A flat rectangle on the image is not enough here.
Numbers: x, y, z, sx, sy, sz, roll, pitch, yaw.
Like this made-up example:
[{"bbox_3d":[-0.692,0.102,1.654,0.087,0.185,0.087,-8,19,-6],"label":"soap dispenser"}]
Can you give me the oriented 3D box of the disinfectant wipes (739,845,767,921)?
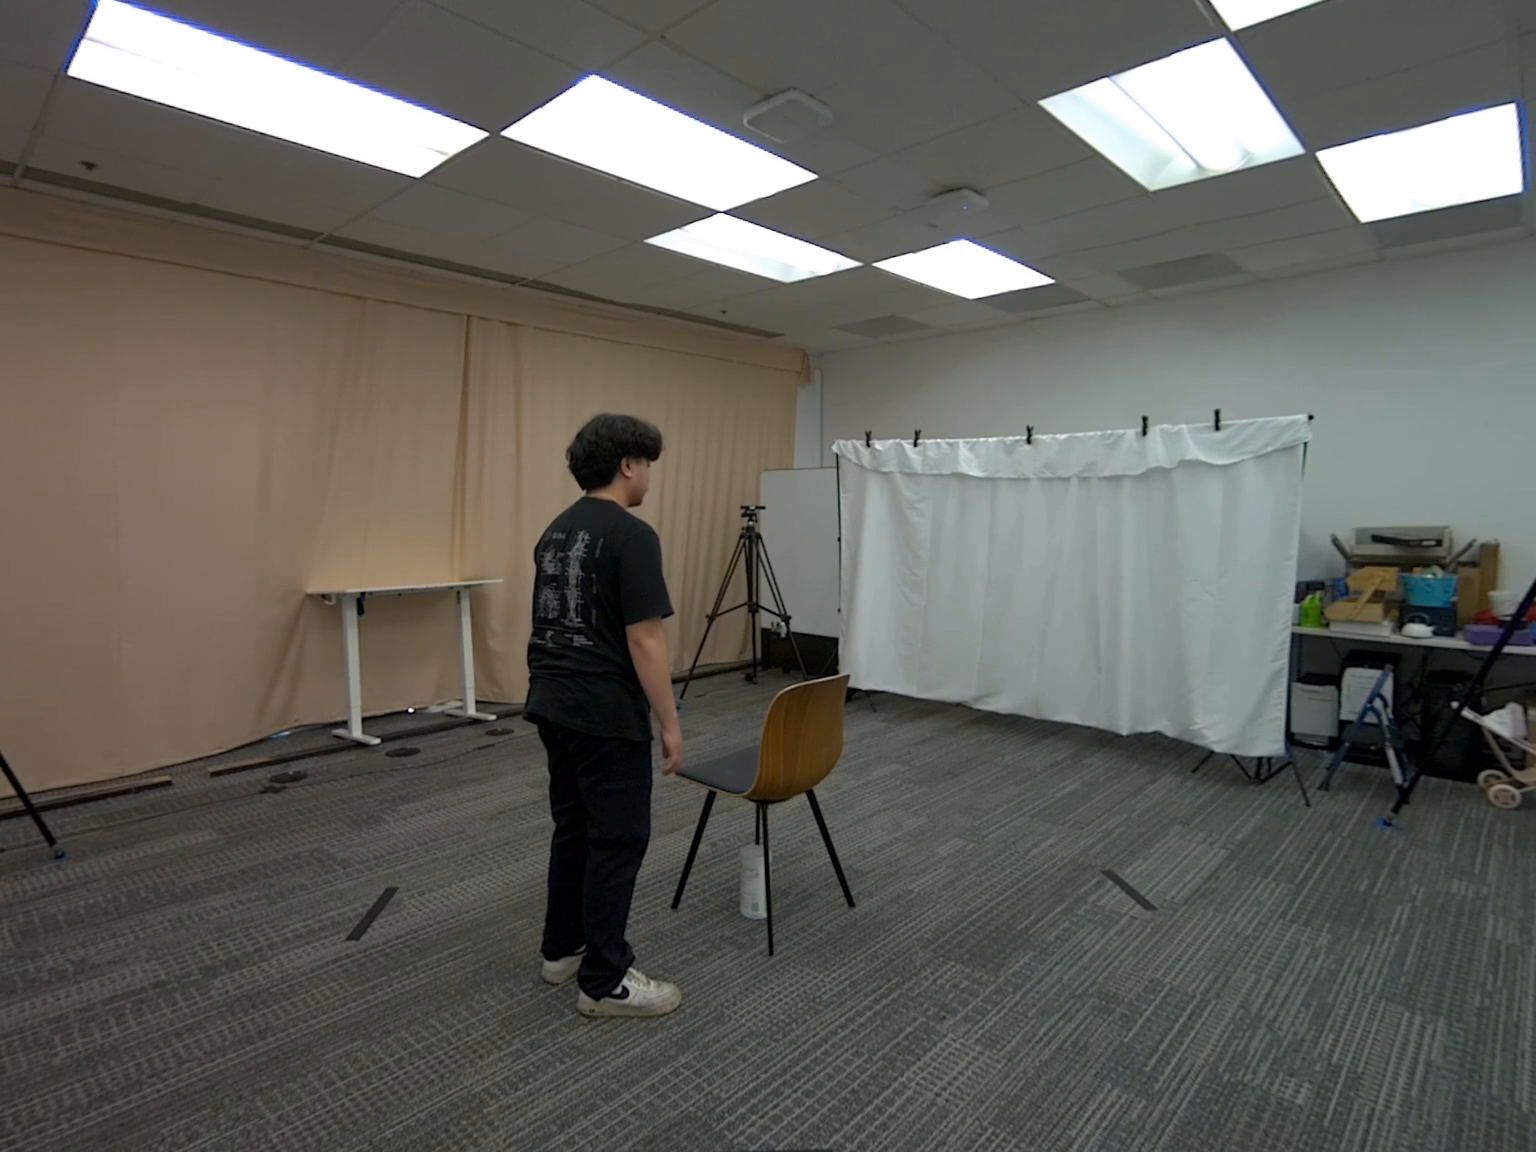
[{"bbox_3d":[-0.030,1.059,2.875,0.117,0.217,0.118,2,5,-2],"label":"disinfectant wipes"}]
